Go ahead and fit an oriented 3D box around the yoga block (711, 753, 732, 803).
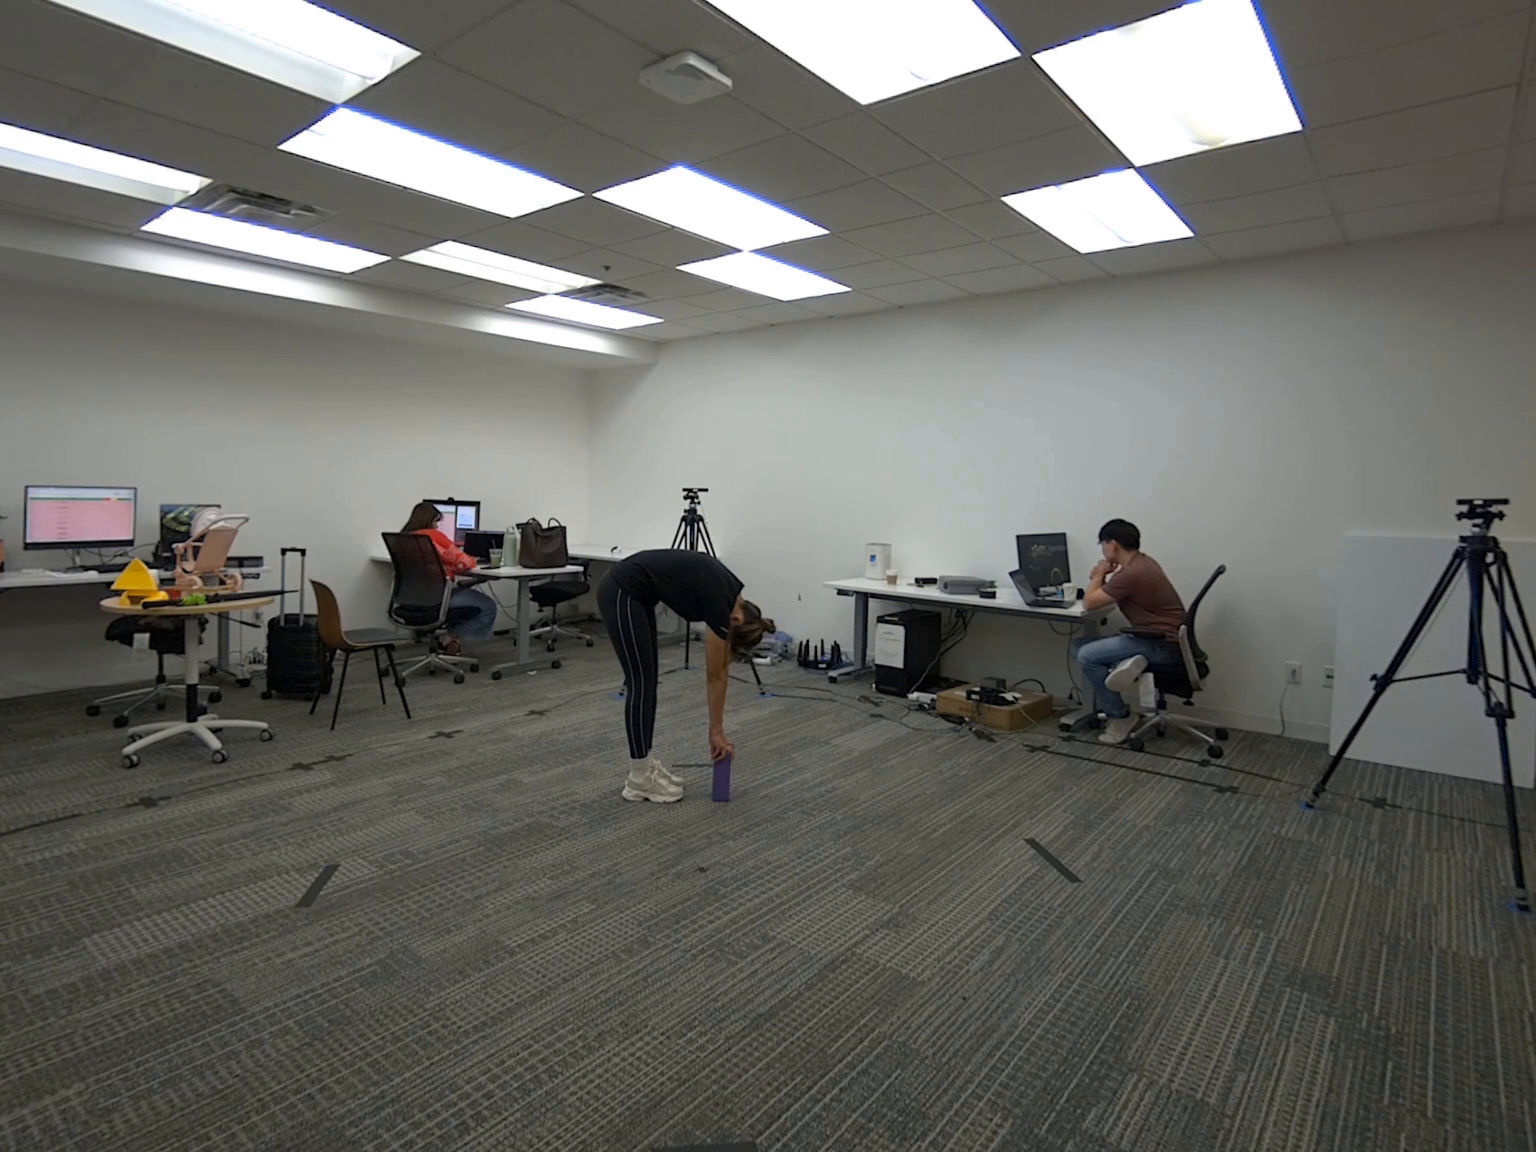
[{"bbox_3d":[-0.219,0.891,3.857,0.076,0.228,0.150,1,5,-4],"label":"yoga block"}]
